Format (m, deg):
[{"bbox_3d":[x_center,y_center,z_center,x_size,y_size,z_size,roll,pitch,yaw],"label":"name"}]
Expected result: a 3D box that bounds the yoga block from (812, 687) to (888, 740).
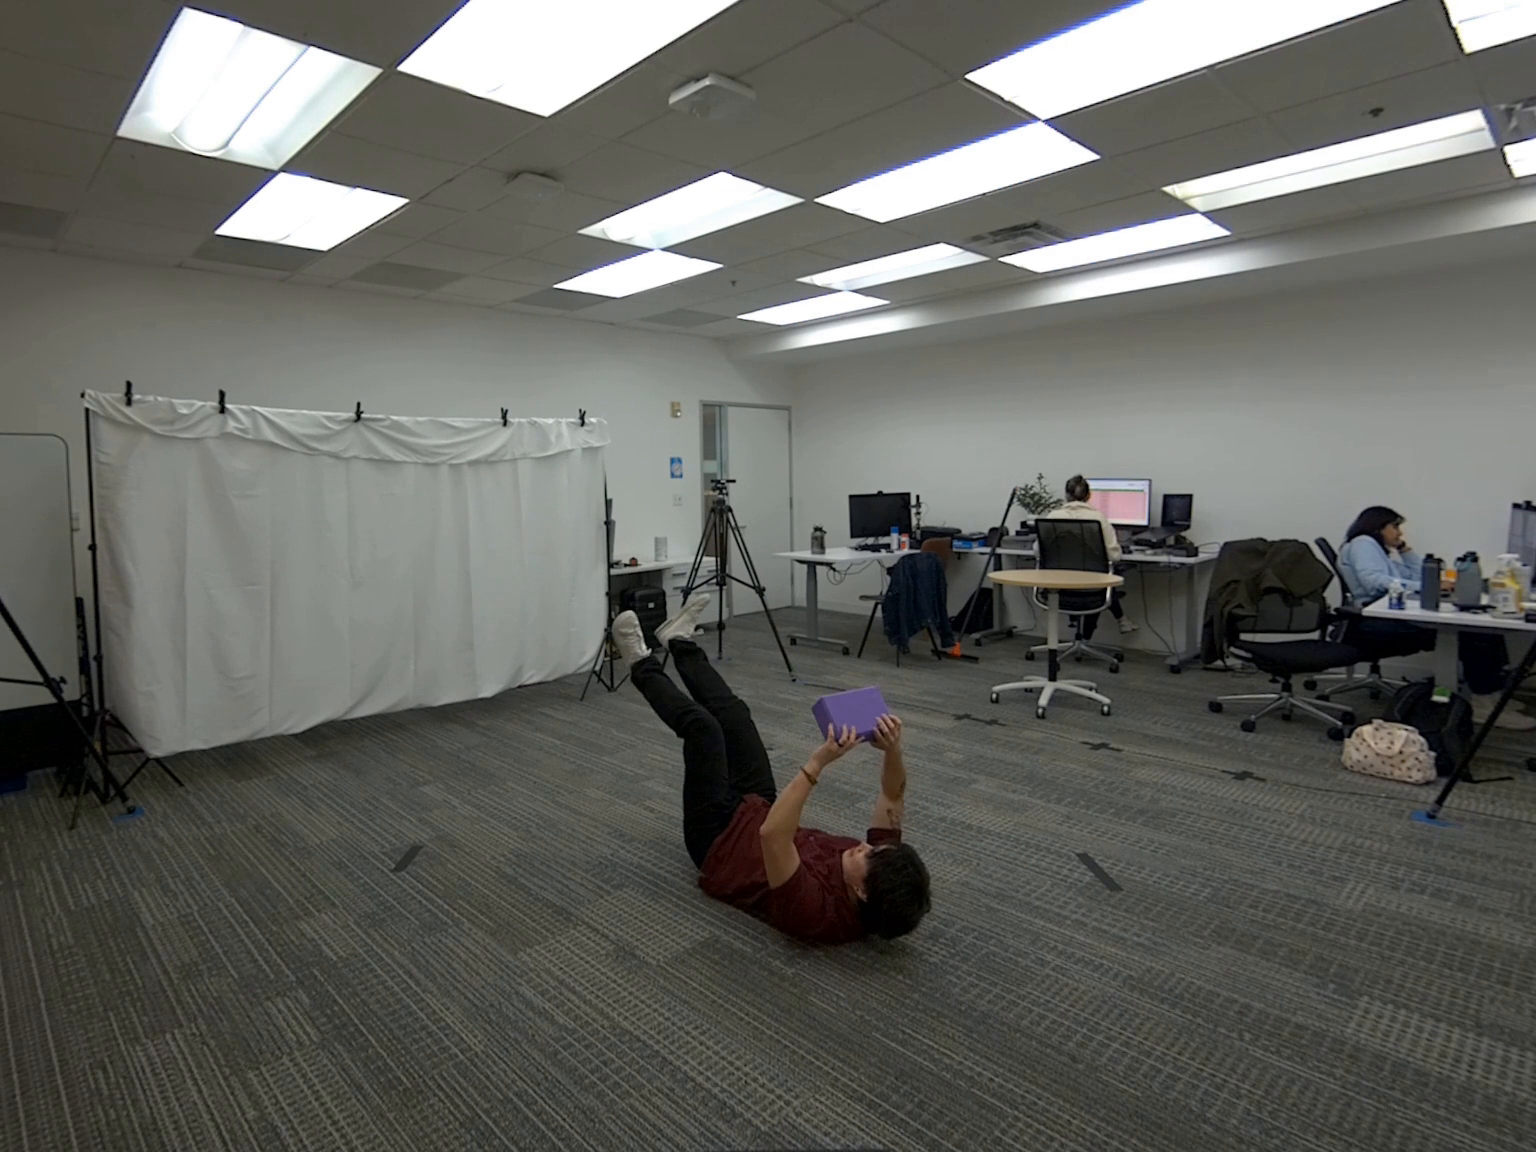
[{"bbox_3d":[0.266,0.426,2.625,0.223,0.154,0.076,-4,-36,-33],"label":"yoga block"}]
